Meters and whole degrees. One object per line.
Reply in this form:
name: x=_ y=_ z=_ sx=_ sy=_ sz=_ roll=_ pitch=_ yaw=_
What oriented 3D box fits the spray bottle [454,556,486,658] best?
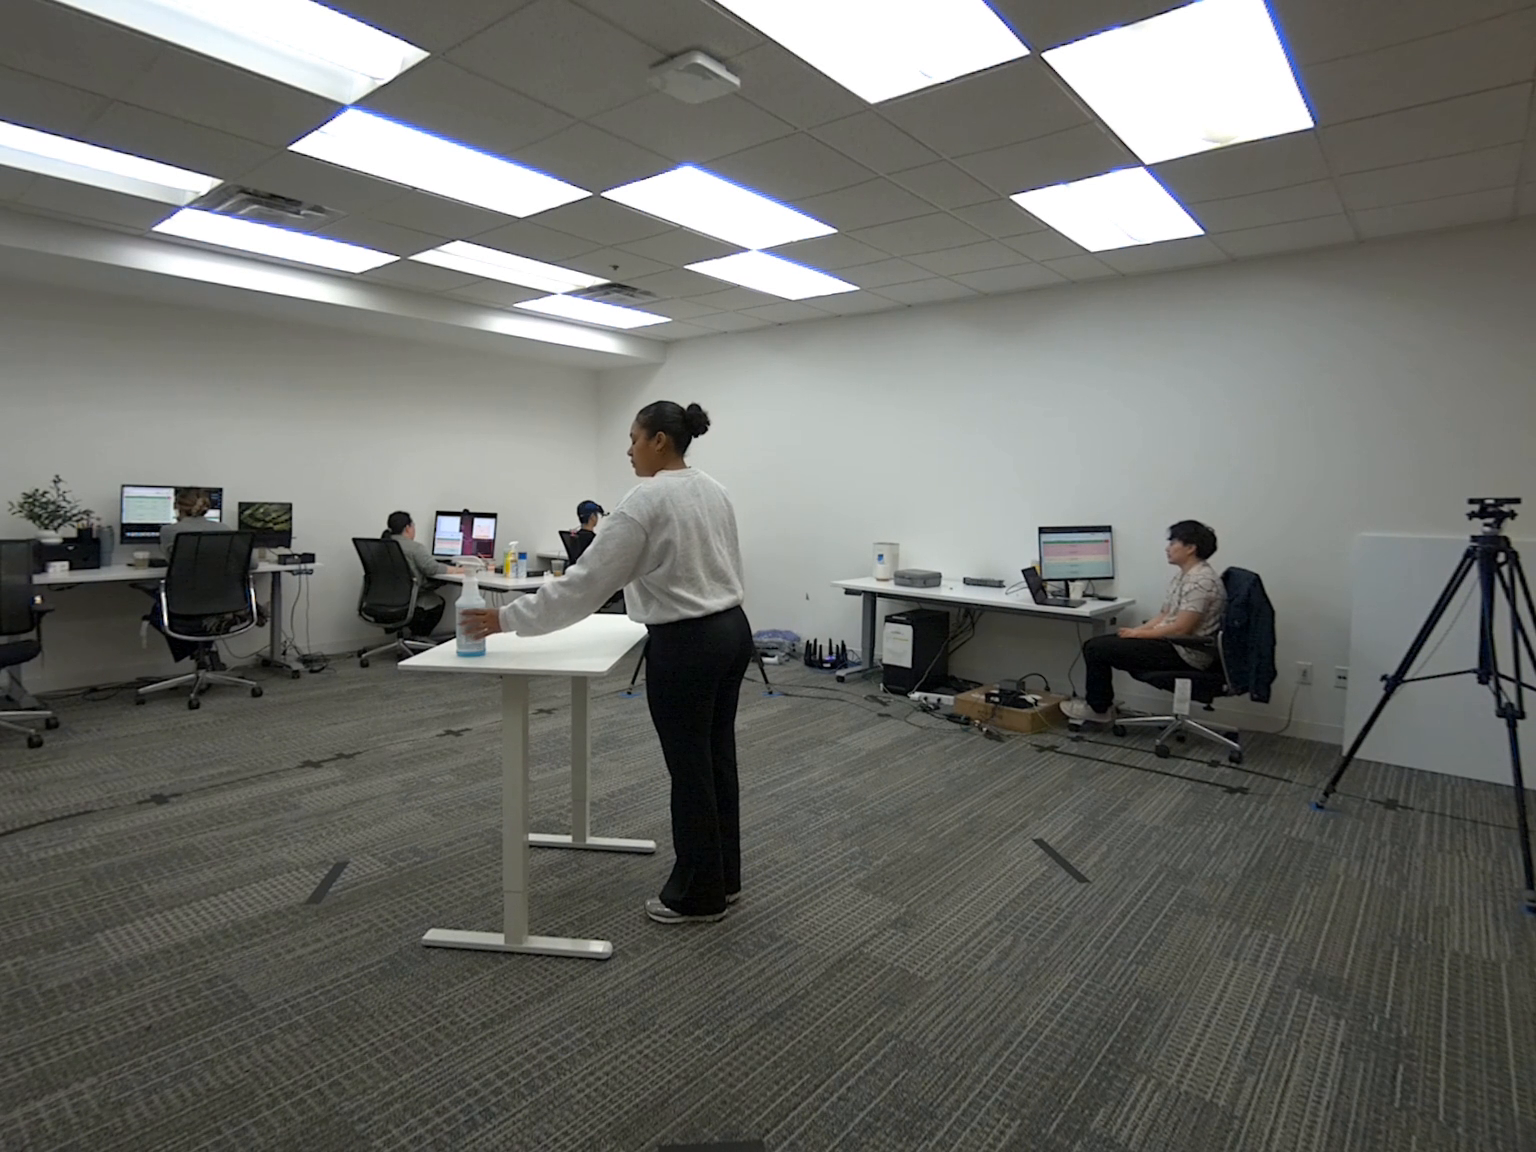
spray bottle: x=-0.899 y=0.088 z=2.538 sx=0.091 sy=0.296 sz=0.086 roll=0 pitch=3 yaw=12
